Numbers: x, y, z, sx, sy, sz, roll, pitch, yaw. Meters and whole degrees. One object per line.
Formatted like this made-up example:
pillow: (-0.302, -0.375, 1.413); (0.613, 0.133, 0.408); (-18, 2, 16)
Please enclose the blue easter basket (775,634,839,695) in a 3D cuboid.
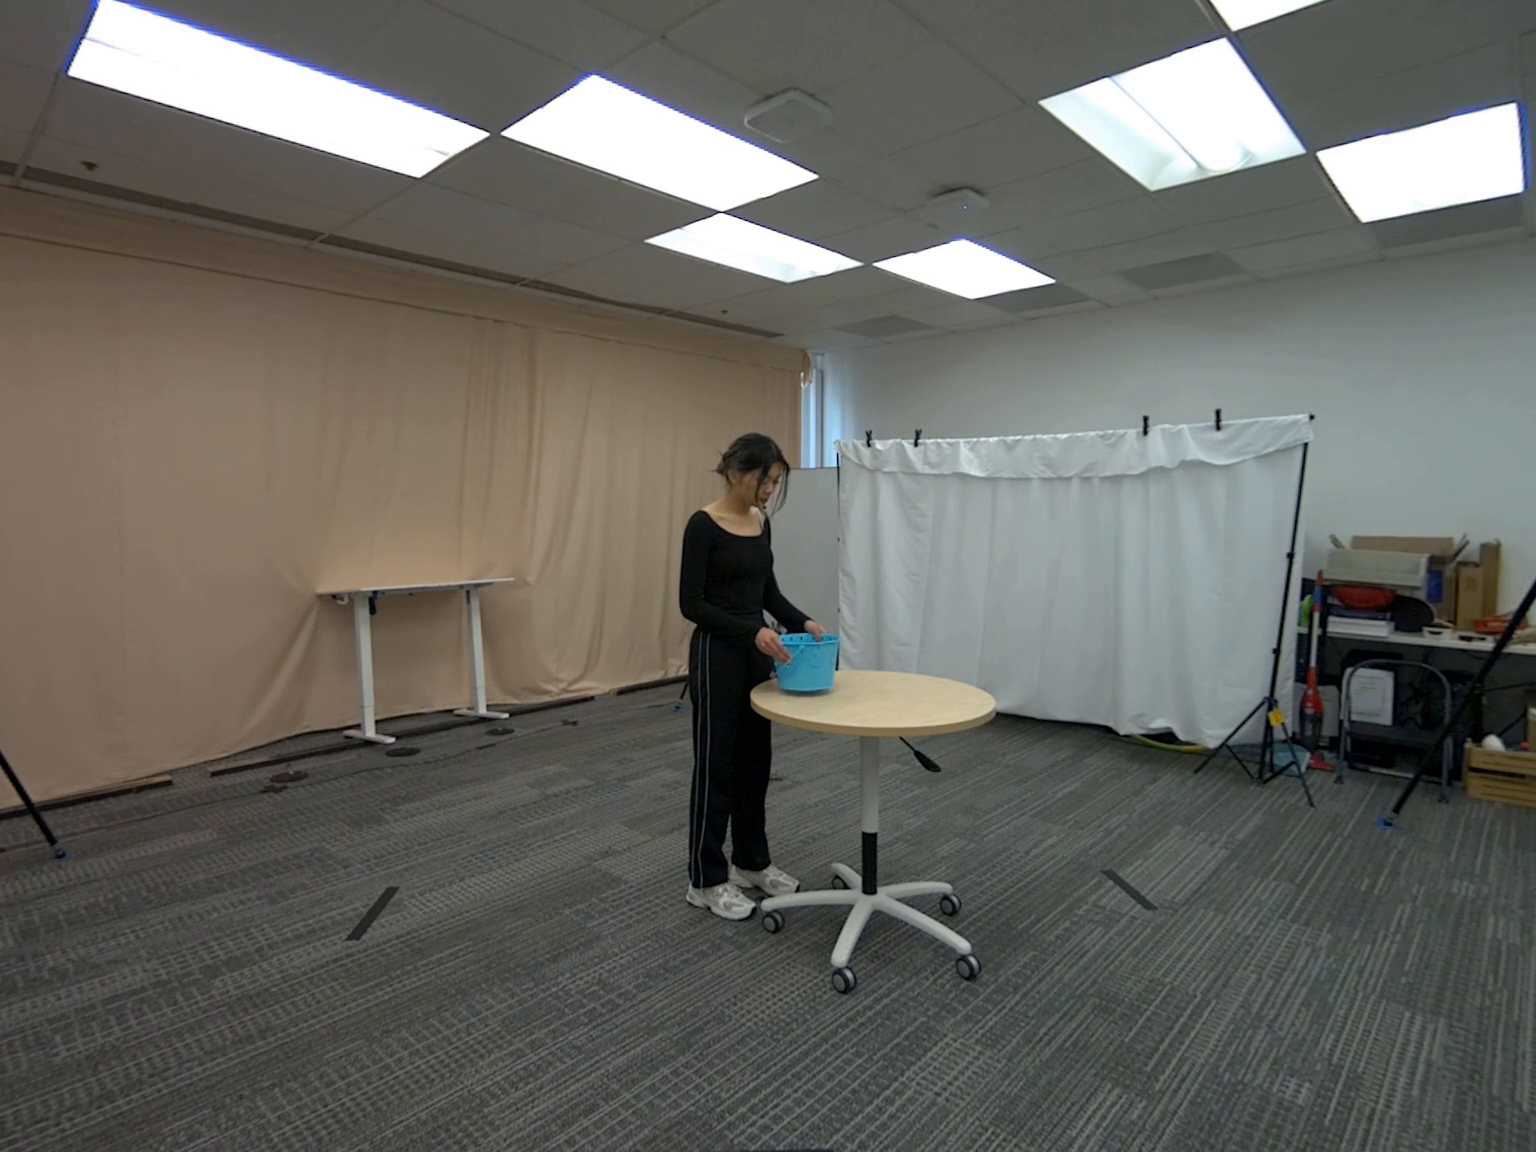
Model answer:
blue easter basket: (0.114, 0.285, 2.744); (0.243, 0.156, 0.244); (-2, 3, -2)
